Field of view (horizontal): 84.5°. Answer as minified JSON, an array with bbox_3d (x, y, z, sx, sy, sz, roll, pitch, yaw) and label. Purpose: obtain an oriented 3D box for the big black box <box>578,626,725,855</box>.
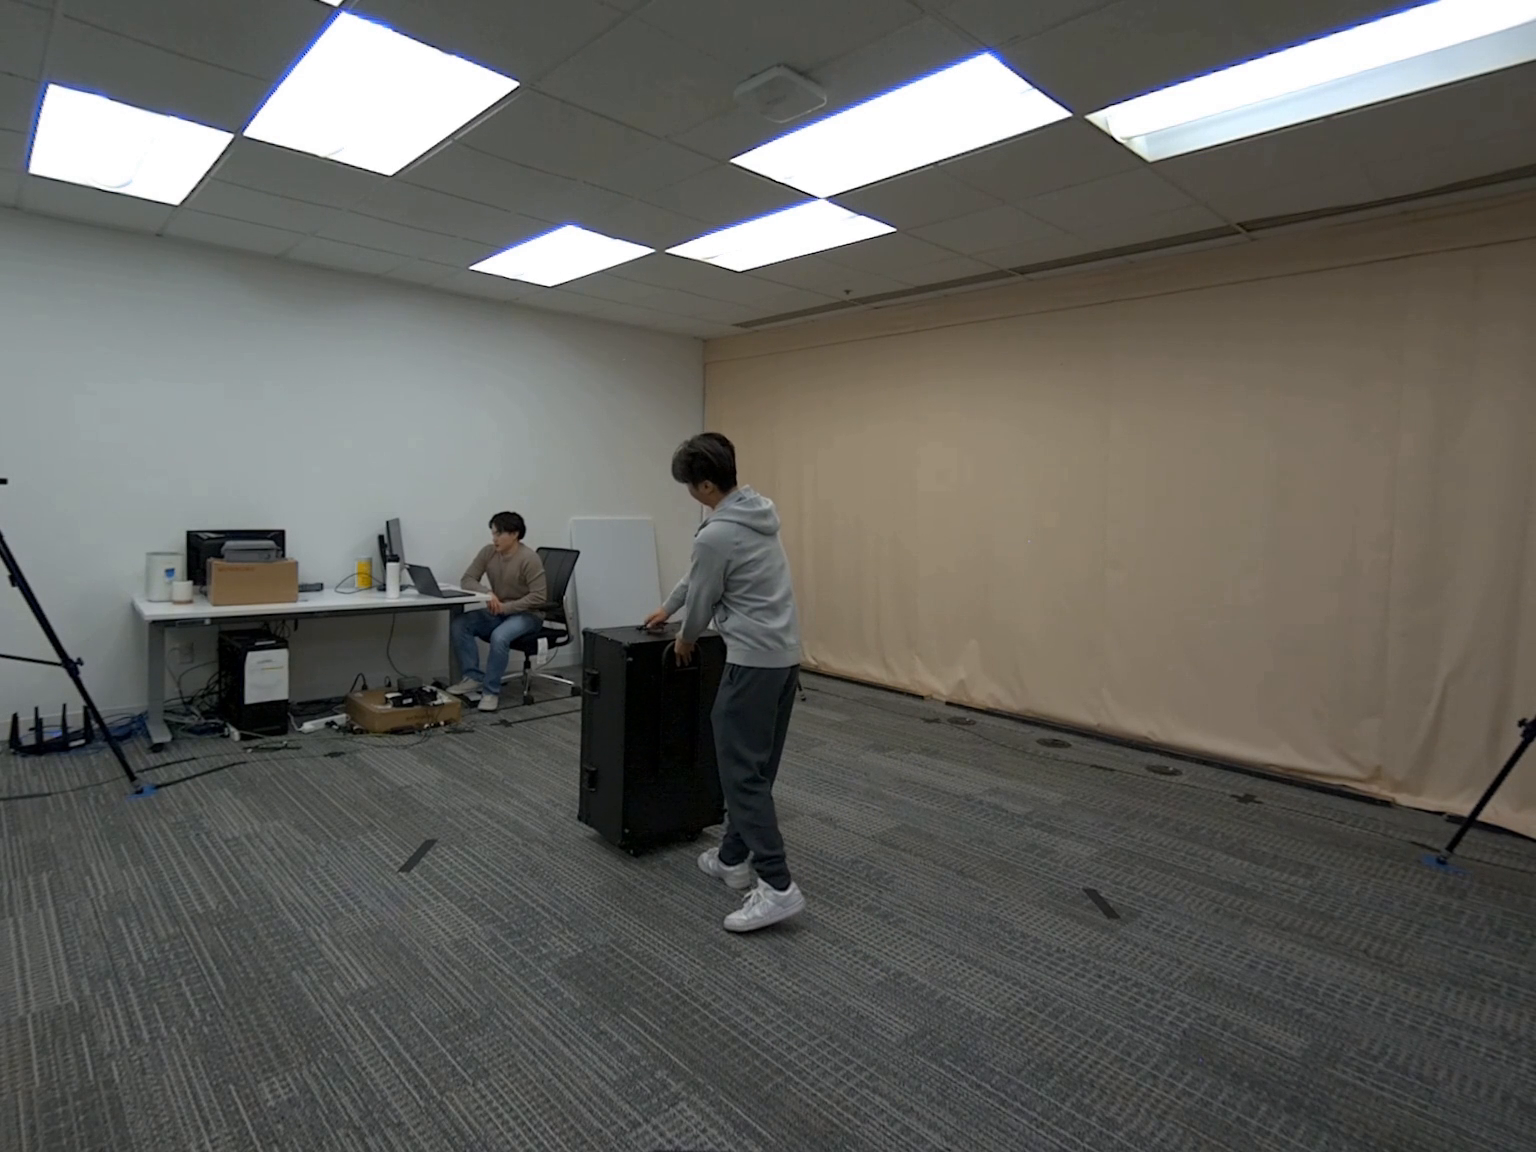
[{"bbox_3d":[-0.456,0.649,3.402,0.509,0.858,0.406,-1,6,-38],"label":"big black box"}]
